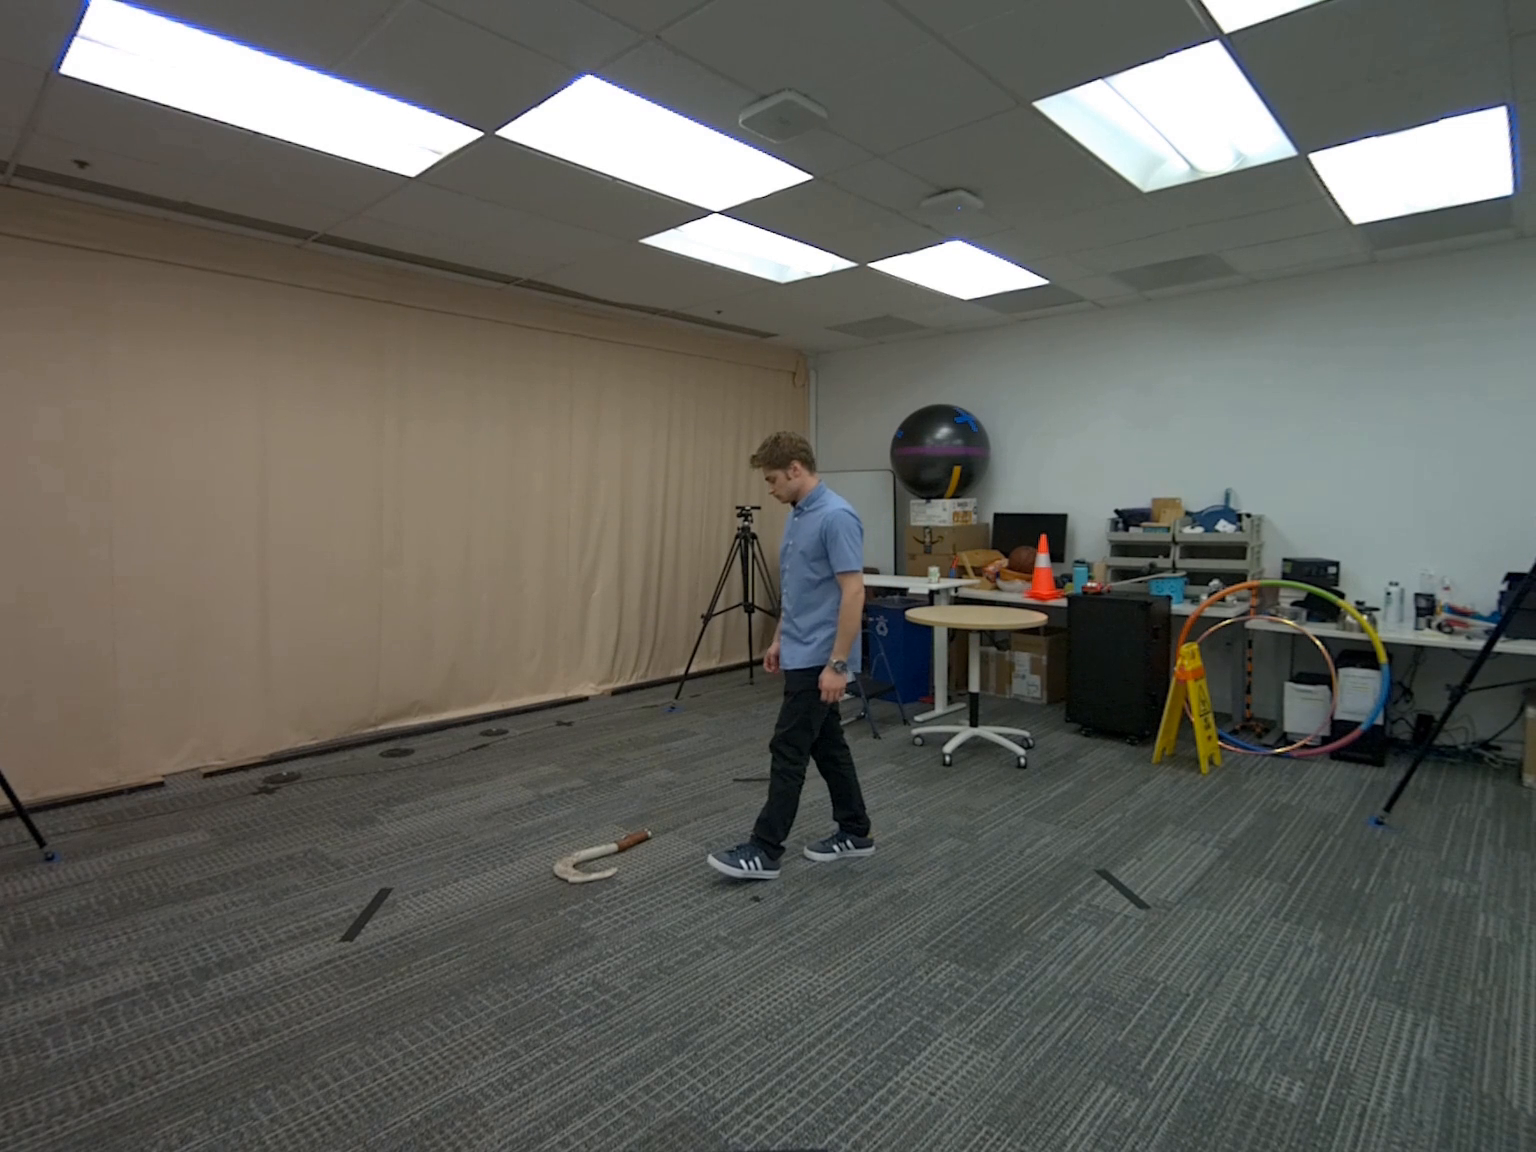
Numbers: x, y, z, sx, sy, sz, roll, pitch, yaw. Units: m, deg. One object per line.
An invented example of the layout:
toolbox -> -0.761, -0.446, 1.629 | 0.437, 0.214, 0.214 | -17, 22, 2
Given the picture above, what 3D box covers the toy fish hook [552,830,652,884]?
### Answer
toy fish hook -> -0.611, 1.108, 3.329 | 0.232, 0.048, 0.491 | 12, 12, 38
